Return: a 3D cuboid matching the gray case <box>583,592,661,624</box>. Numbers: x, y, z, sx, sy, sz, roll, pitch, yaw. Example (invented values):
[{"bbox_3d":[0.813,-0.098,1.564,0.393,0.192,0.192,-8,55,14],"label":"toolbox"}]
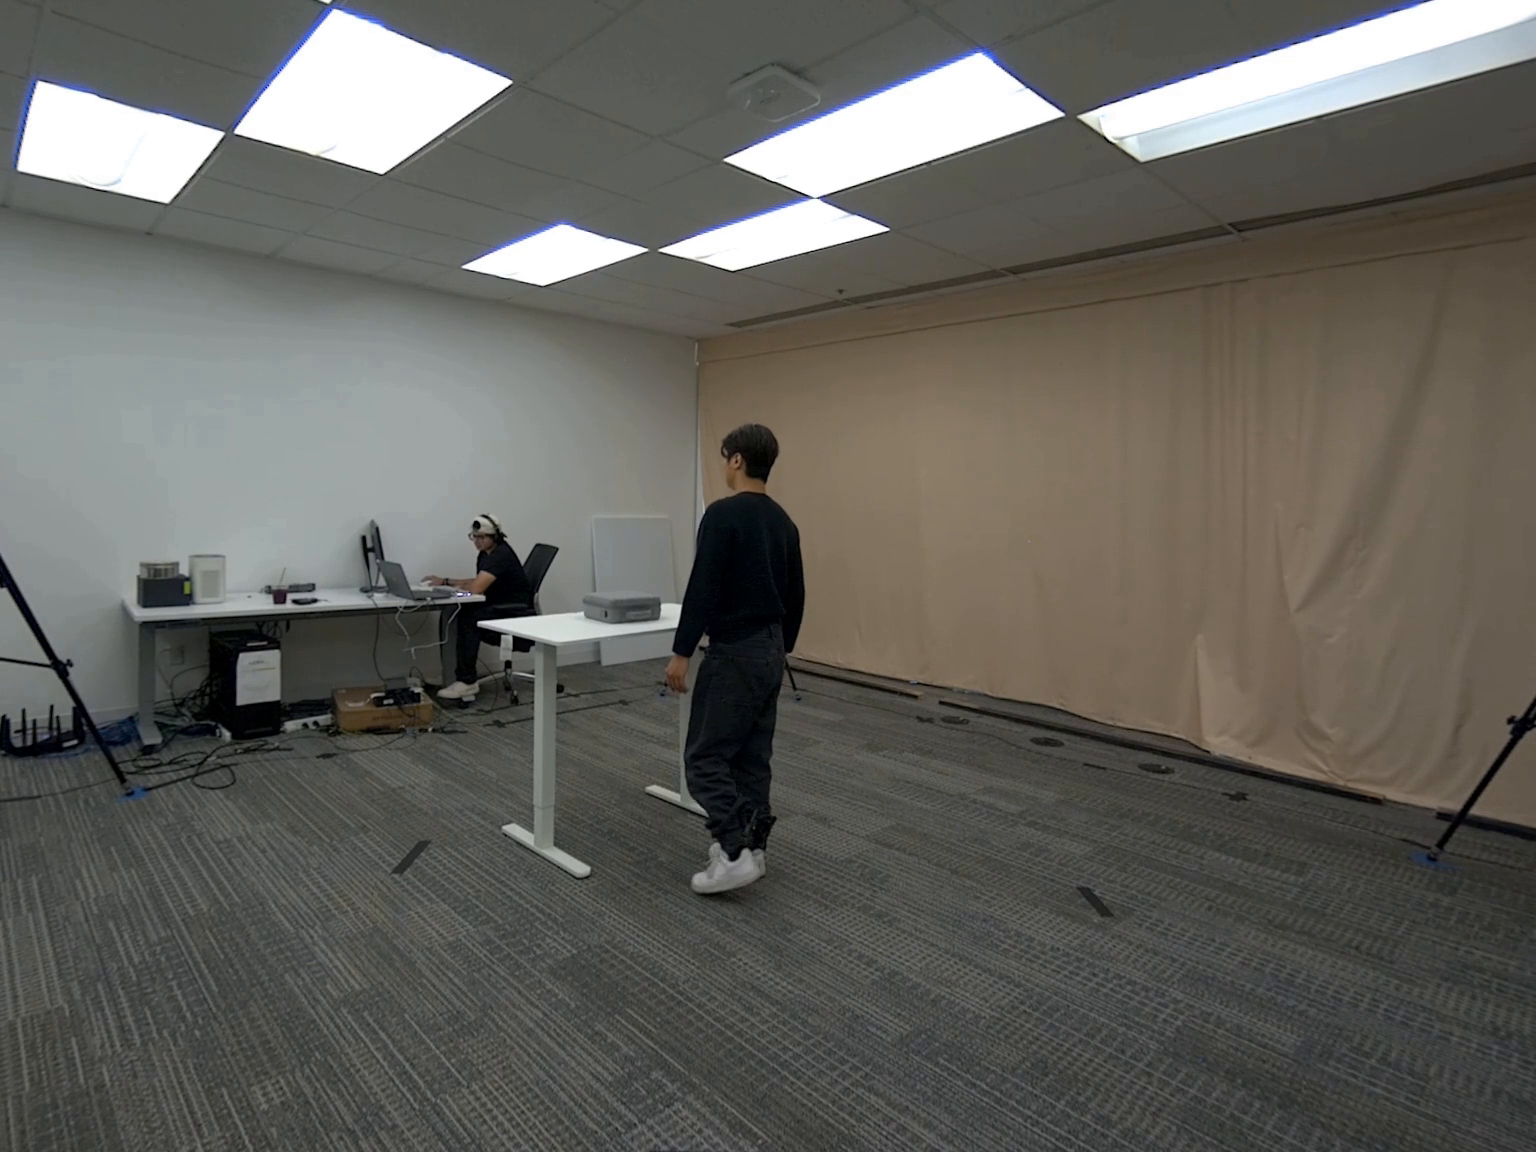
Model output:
[{"bbox_3d":[-0.618,0.126,3.514,0.251,0.104,0.267,-2,7,-36],"label":"gray case"}]
